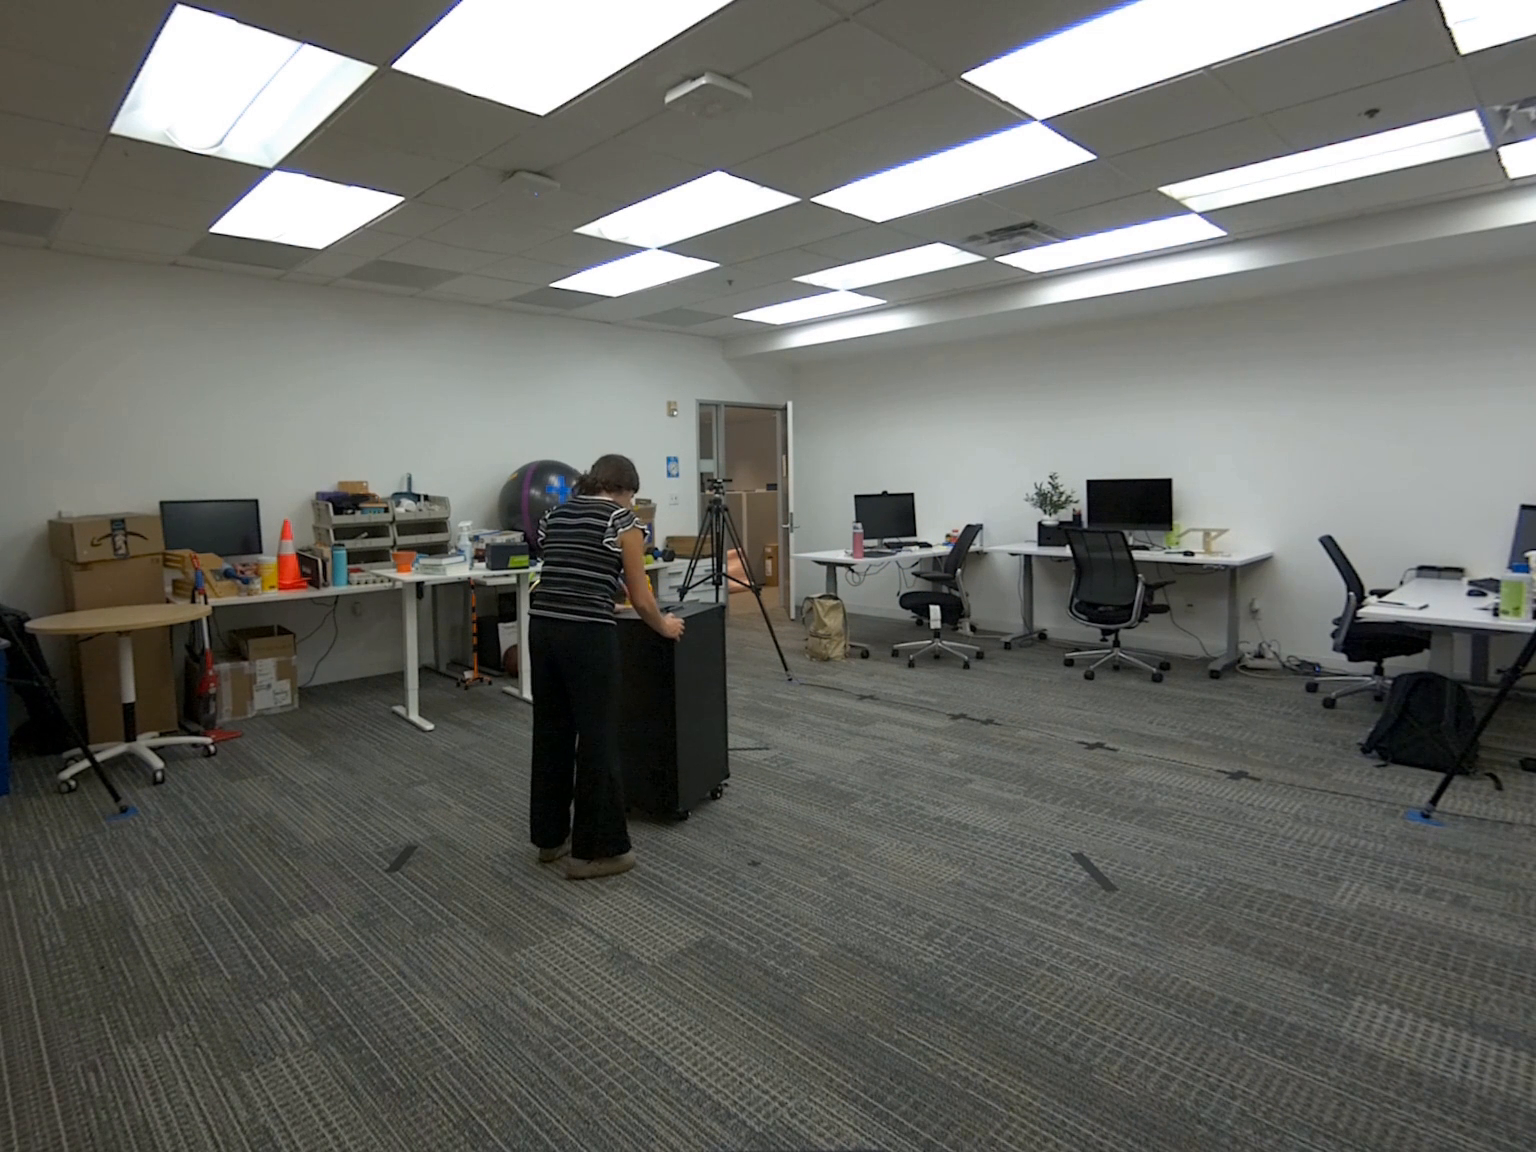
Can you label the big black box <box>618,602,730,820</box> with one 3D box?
[{"bbox_3d":[-0.438,0.570,3.650,0.405,0.858,0.512,0,4,24],"label":"big black box"}]
